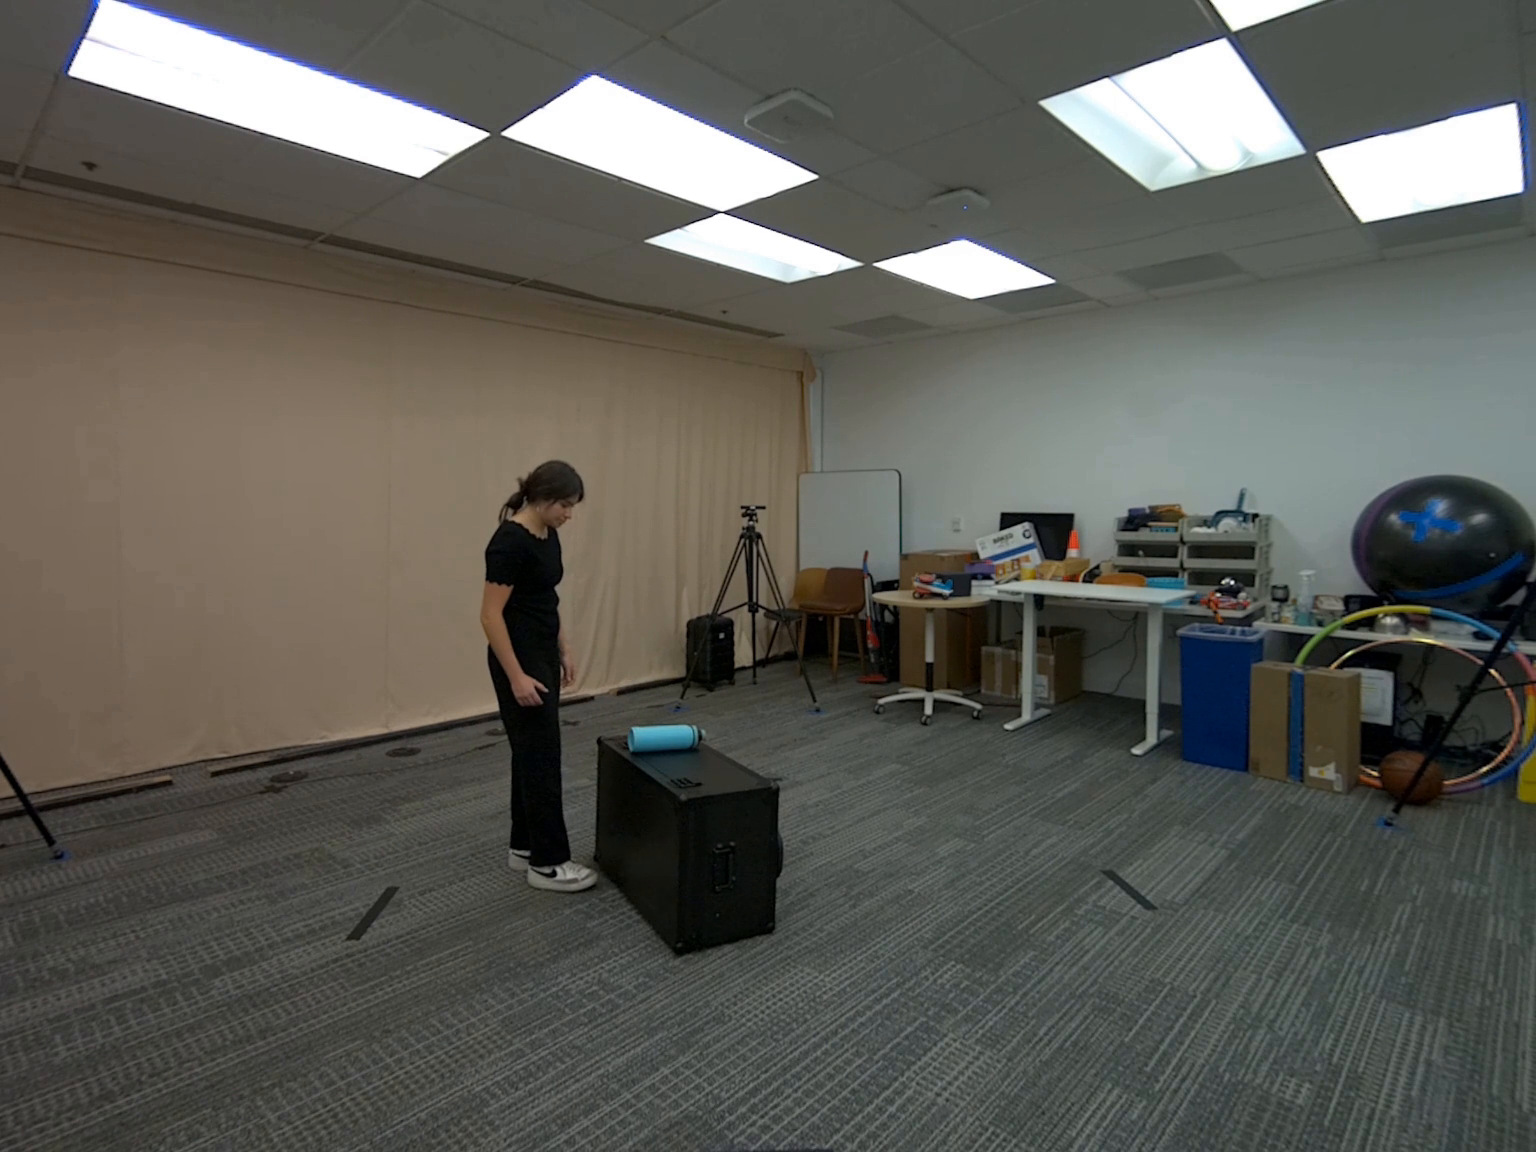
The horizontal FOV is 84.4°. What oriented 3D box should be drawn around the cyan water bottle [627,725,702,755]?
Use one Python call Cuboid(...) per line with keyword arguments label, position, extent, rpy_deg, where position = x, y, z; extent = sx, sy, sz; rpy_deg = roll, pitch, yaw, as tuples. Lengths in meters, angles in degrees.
Cuboid(label="cyan water bottle", position=(-0.372, 0.600, 3.121), extent=(0.277, 0.092, 0.094), rpy_deg=(1, 3, -21))
